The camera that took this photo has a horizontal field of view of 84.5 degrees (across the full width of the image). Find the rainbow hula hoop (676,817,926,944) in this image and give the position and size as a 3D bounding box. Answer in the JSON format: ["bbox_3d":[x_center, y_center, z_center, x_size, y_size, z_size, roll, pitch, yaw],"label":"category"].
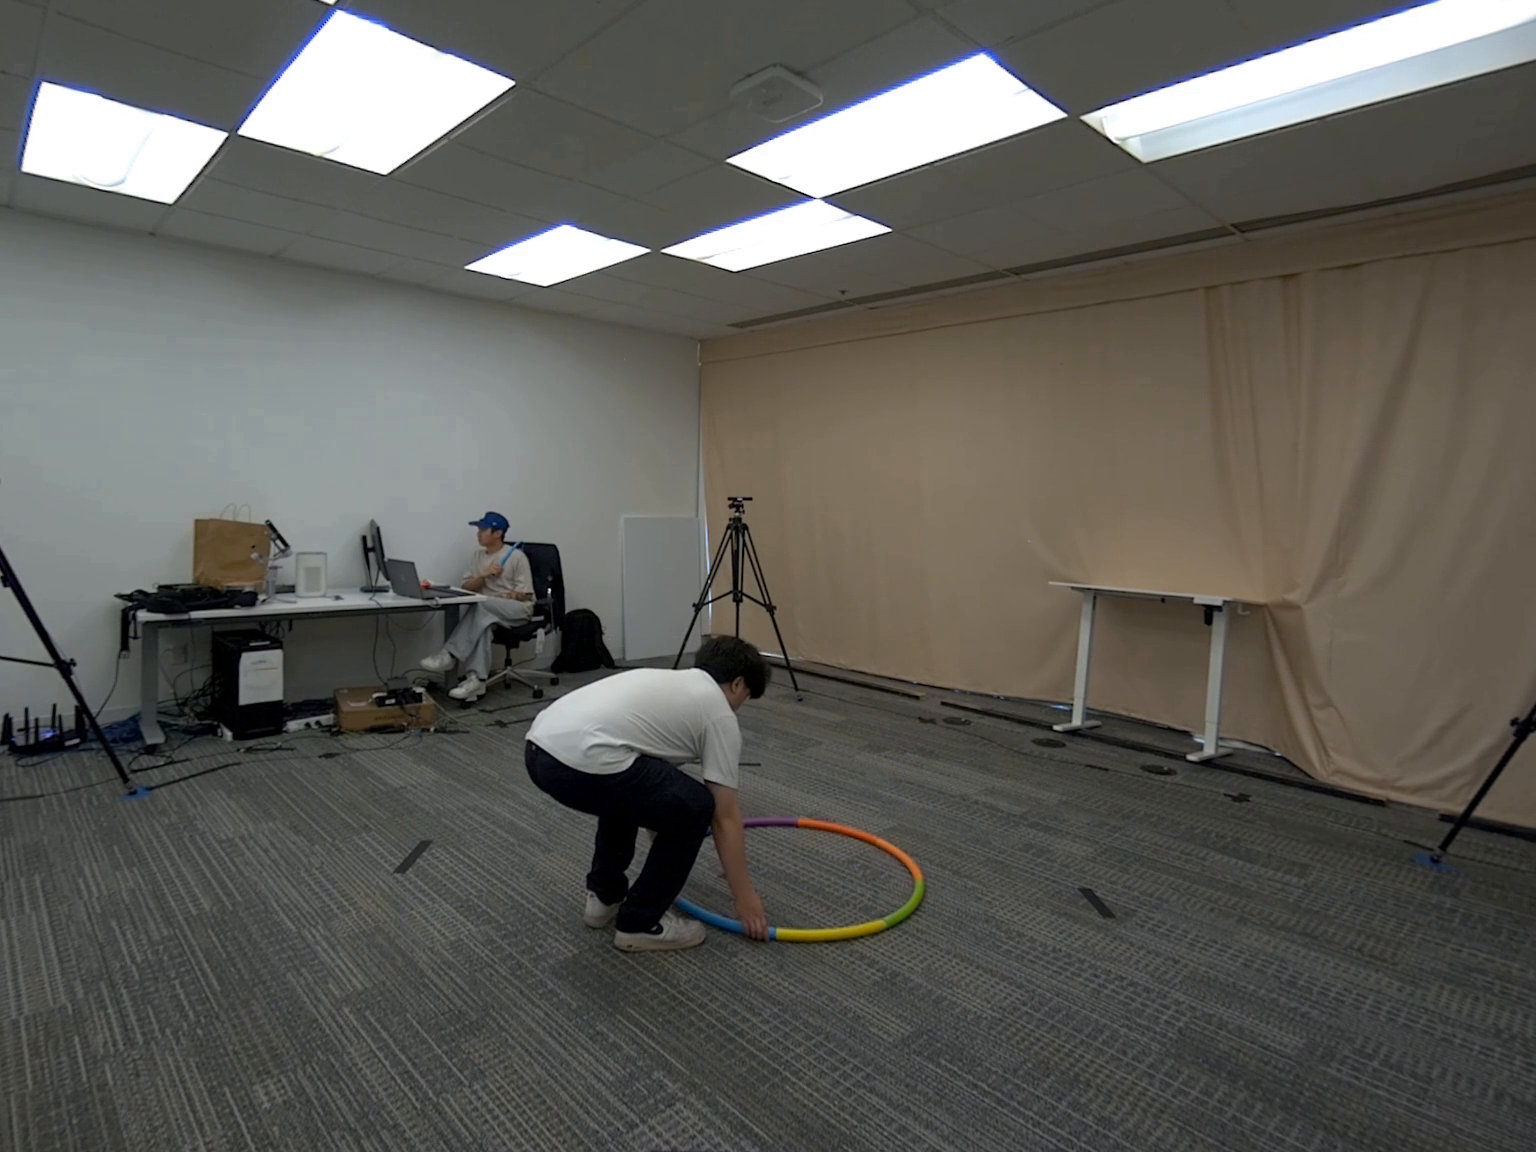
[{"bbox_3d":[0.071,1.083,3.123,0.985,0.051,0.989,1,5,-1],"label":"rainbow hula hoop"}]
